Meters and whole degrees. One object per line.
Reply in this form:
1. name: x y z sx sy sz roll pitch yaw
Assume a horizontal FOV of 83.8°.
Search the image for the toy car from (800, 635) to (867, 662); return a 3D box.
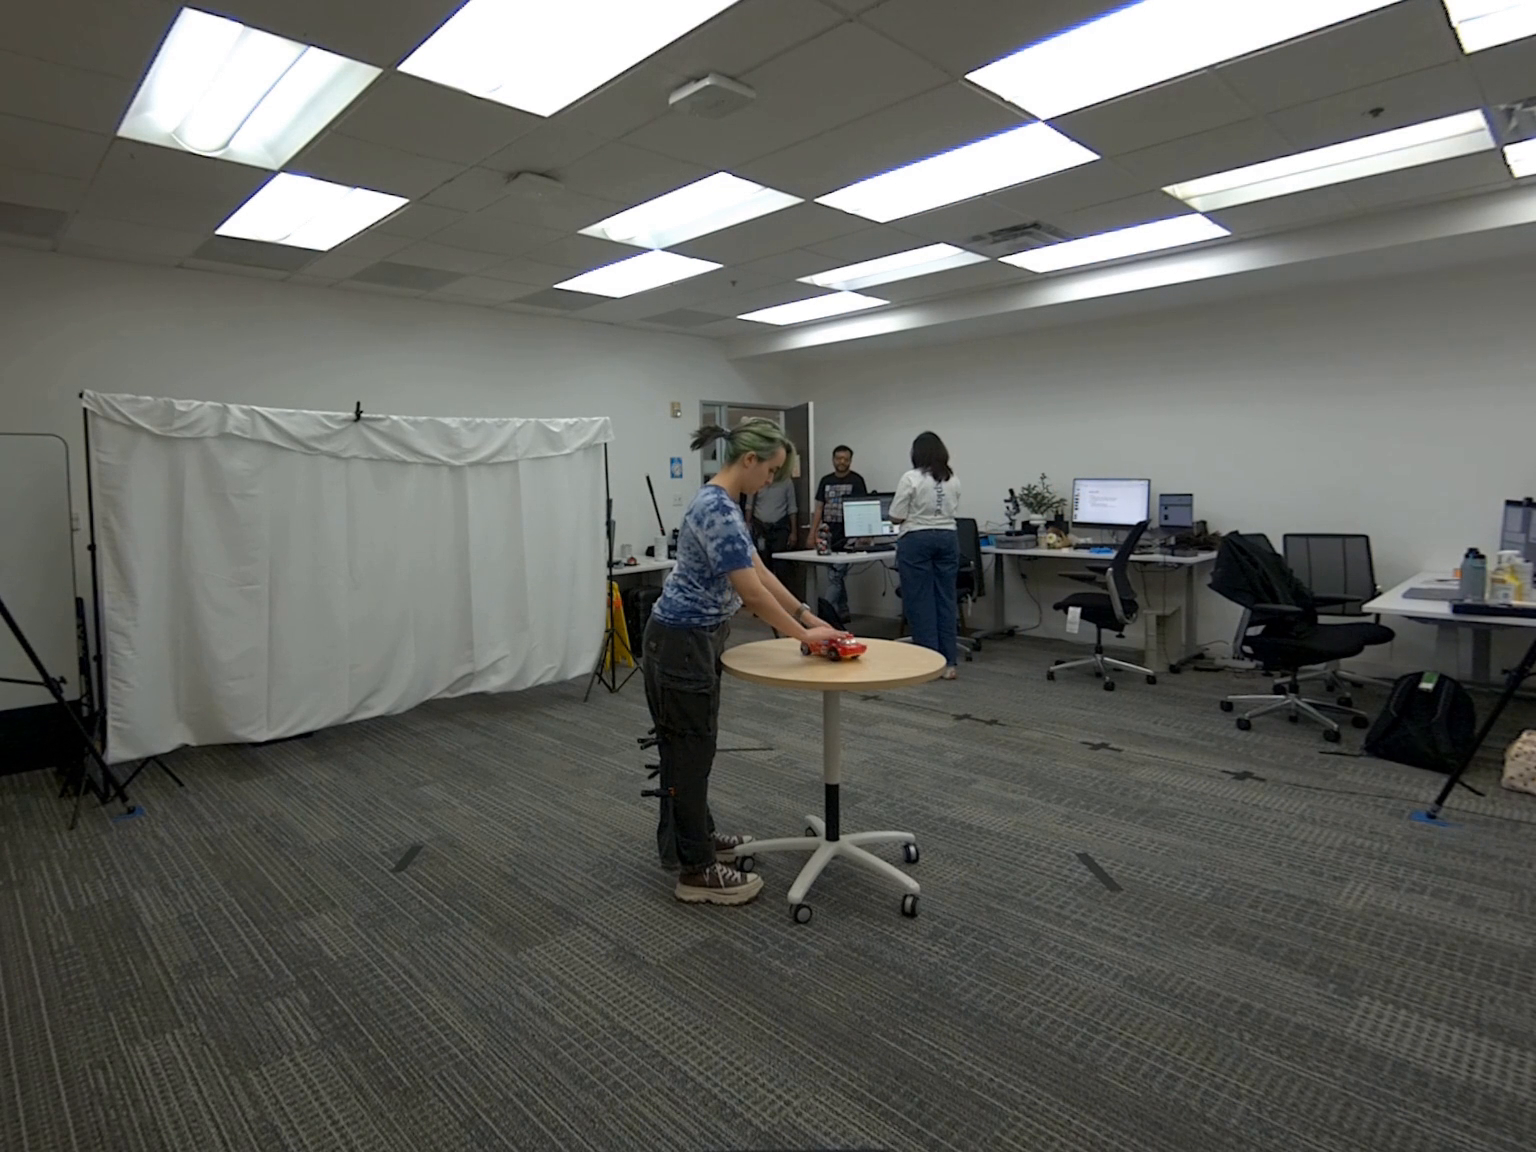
1. toy car: 0.228 0.245 2.924 0.127 0.084 0.260 -4 -5 -37
